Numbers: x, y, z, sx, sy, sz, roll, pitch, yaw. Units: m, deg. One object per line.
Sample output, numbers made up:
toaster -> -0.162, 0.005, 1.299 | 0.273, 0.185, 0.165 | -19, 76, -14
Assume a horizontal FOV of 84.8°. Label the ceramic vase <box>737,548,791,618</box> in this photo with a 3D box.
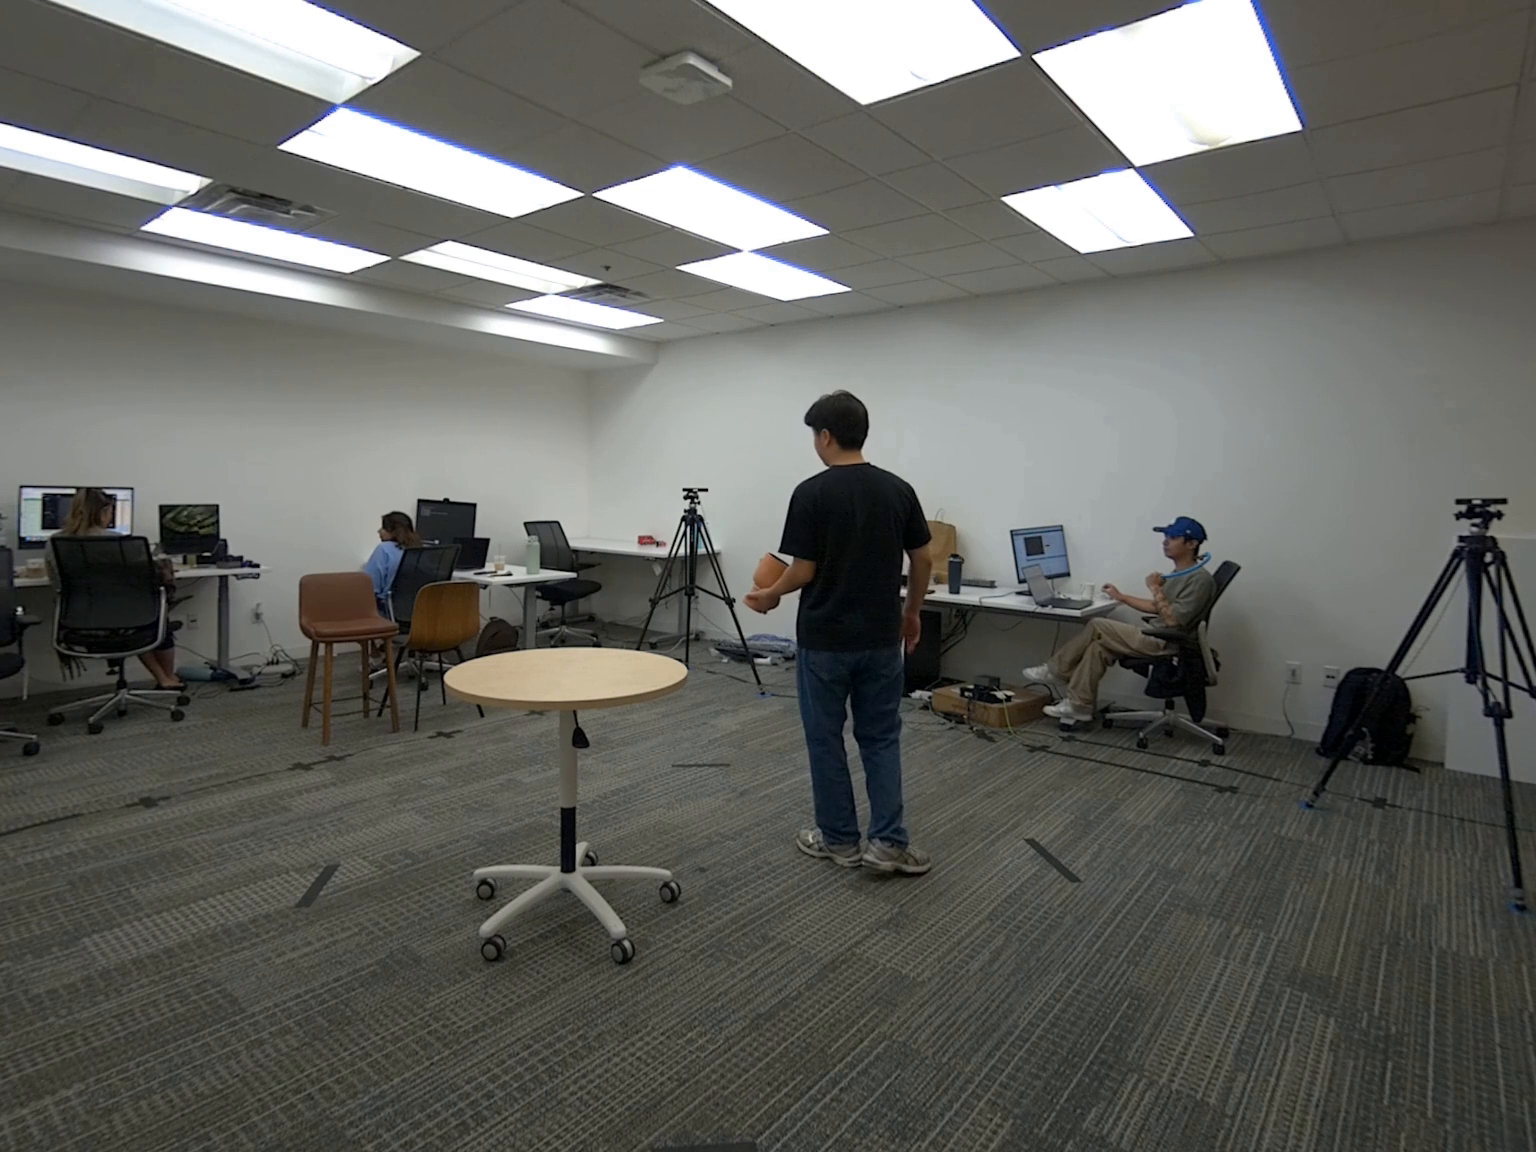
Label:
ceramic vase -> -0.006, 0.023, 3.401 | 0.134, 0.219, 0.159 | 33, 7, -3
